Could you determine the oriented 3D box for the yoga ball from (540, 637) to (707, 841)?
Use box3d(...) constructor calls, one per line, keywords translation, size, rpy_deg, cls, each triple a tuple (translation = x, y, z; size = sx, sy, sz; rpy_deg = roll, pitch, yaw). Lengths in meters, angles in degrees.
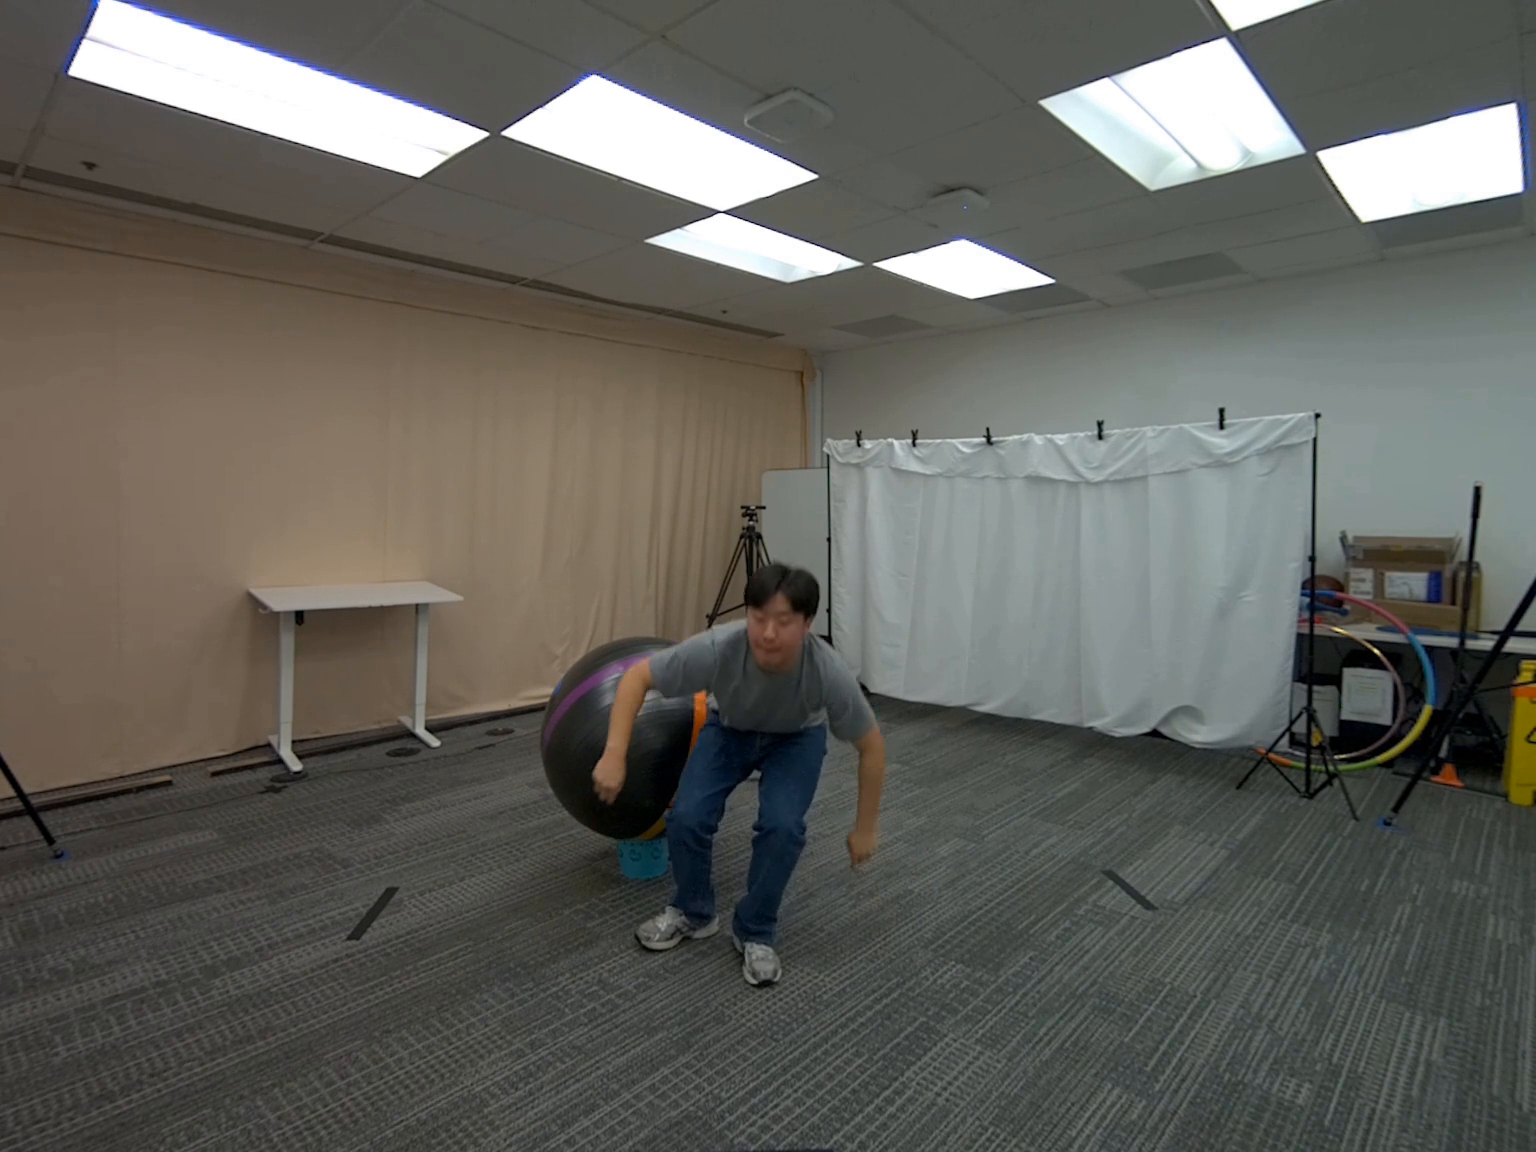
box3d(translation=(-0.492, 0.618, 3.220), size=(0.757, 0.756, 0.760), rpy_deg=(0, 4, -2), cls="yoga ball")
